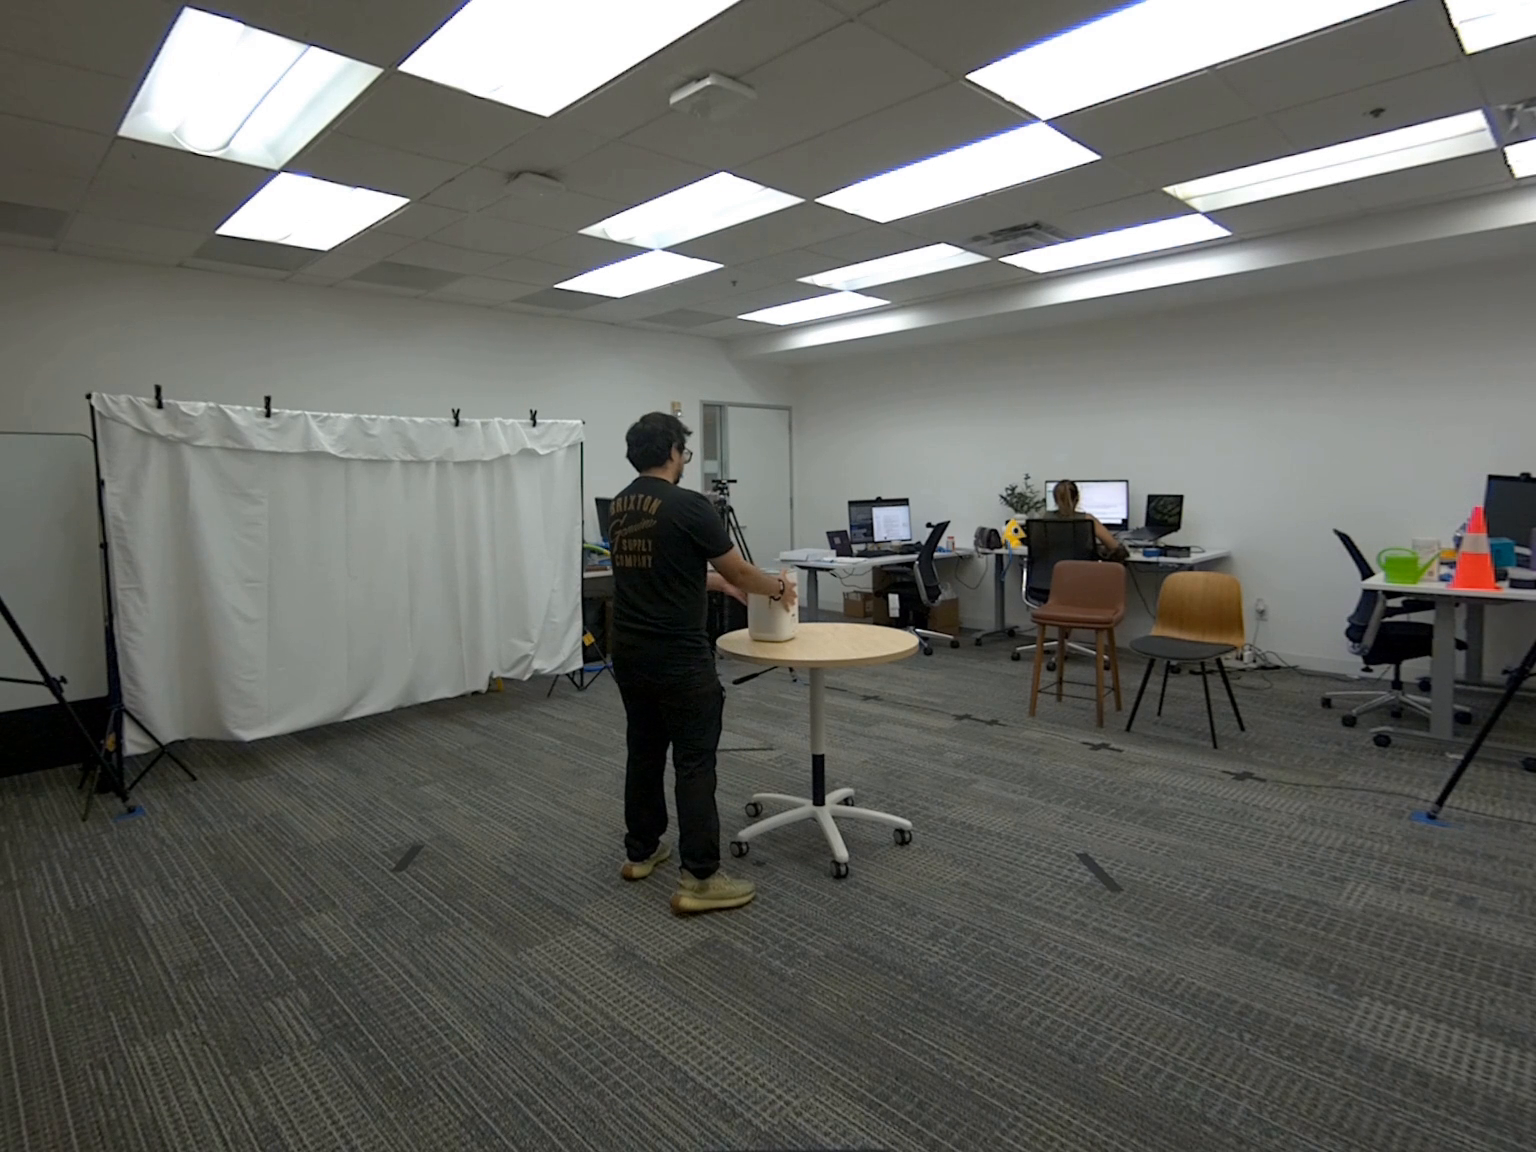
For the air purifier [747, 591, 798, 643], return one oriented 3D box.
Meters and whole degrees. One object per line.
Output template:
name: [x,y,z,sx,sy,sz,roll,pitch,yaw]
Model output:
air purifier: [0.021,0.110,3.290,0.176,0.265,0.167,0,4,29]
